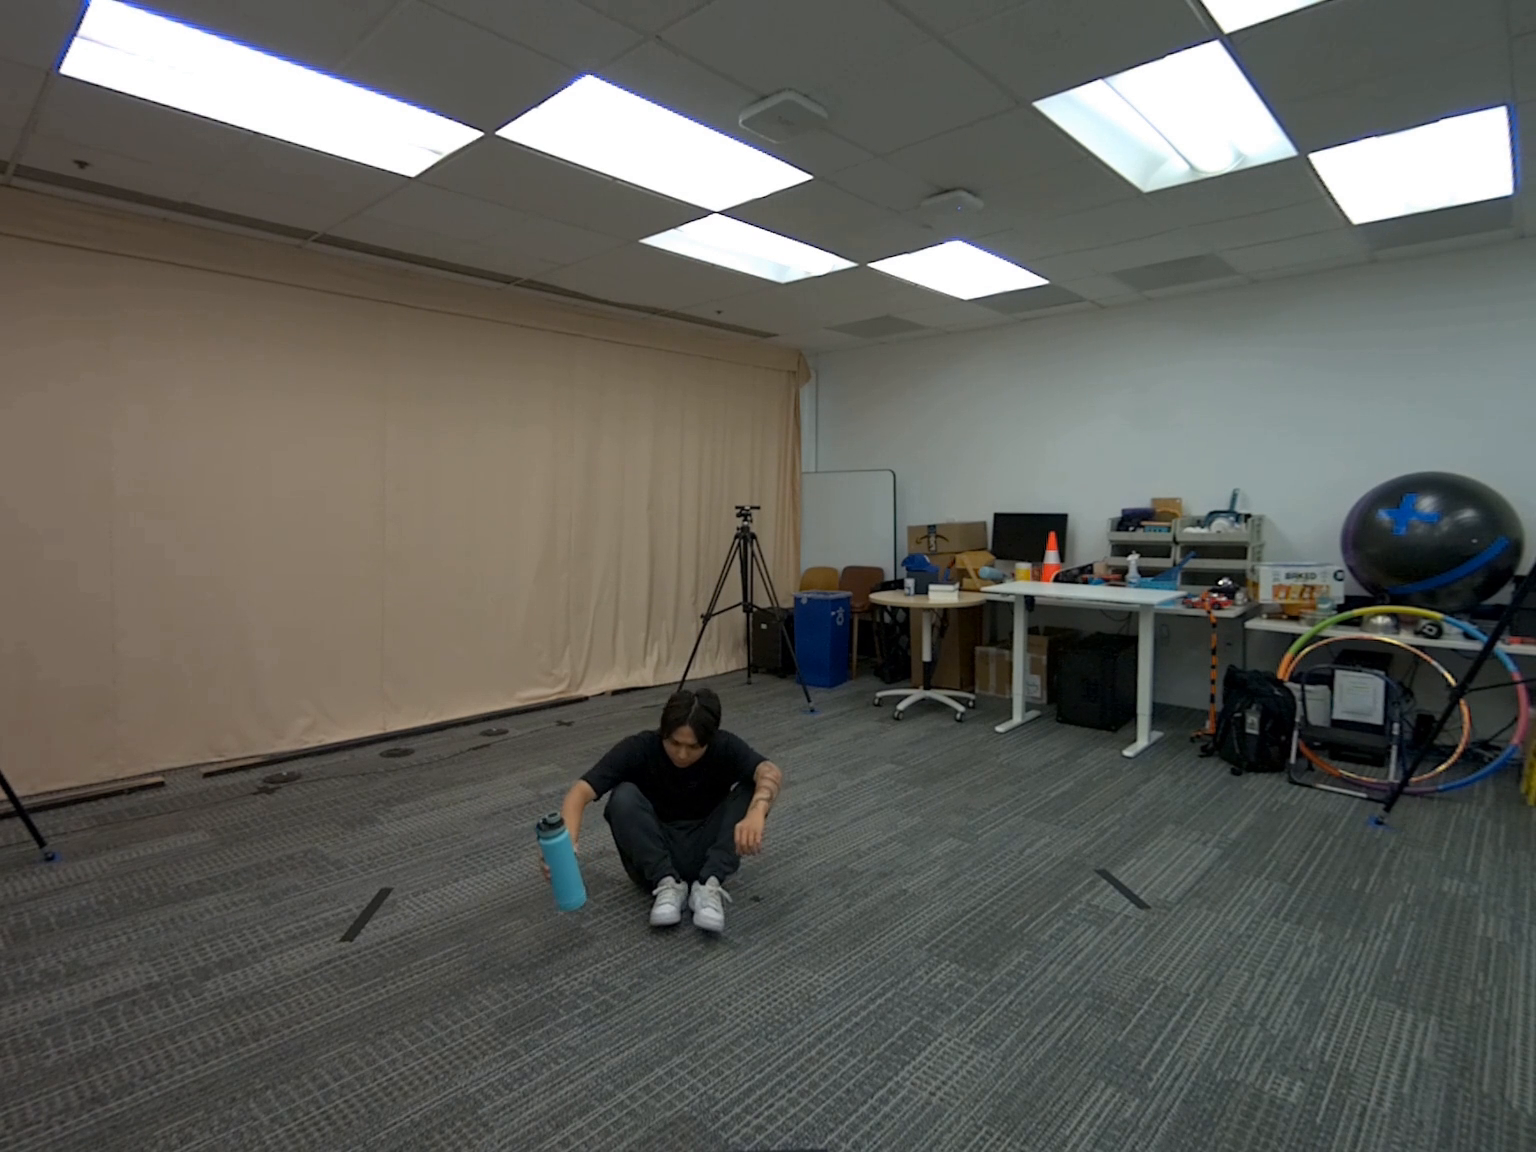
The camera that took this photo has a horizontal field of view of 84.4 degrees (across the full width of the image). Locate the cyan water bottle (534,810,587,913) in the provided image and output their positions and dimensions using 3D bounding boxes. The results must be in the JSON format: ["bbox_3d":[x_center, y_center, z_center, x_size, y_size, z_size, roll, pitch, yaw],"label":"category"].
[{"bbox_3d":[-0.597,0.818,2.444,0.092,0.281,0.093,-11,11,1],"label":"cyan water bottle"}]
